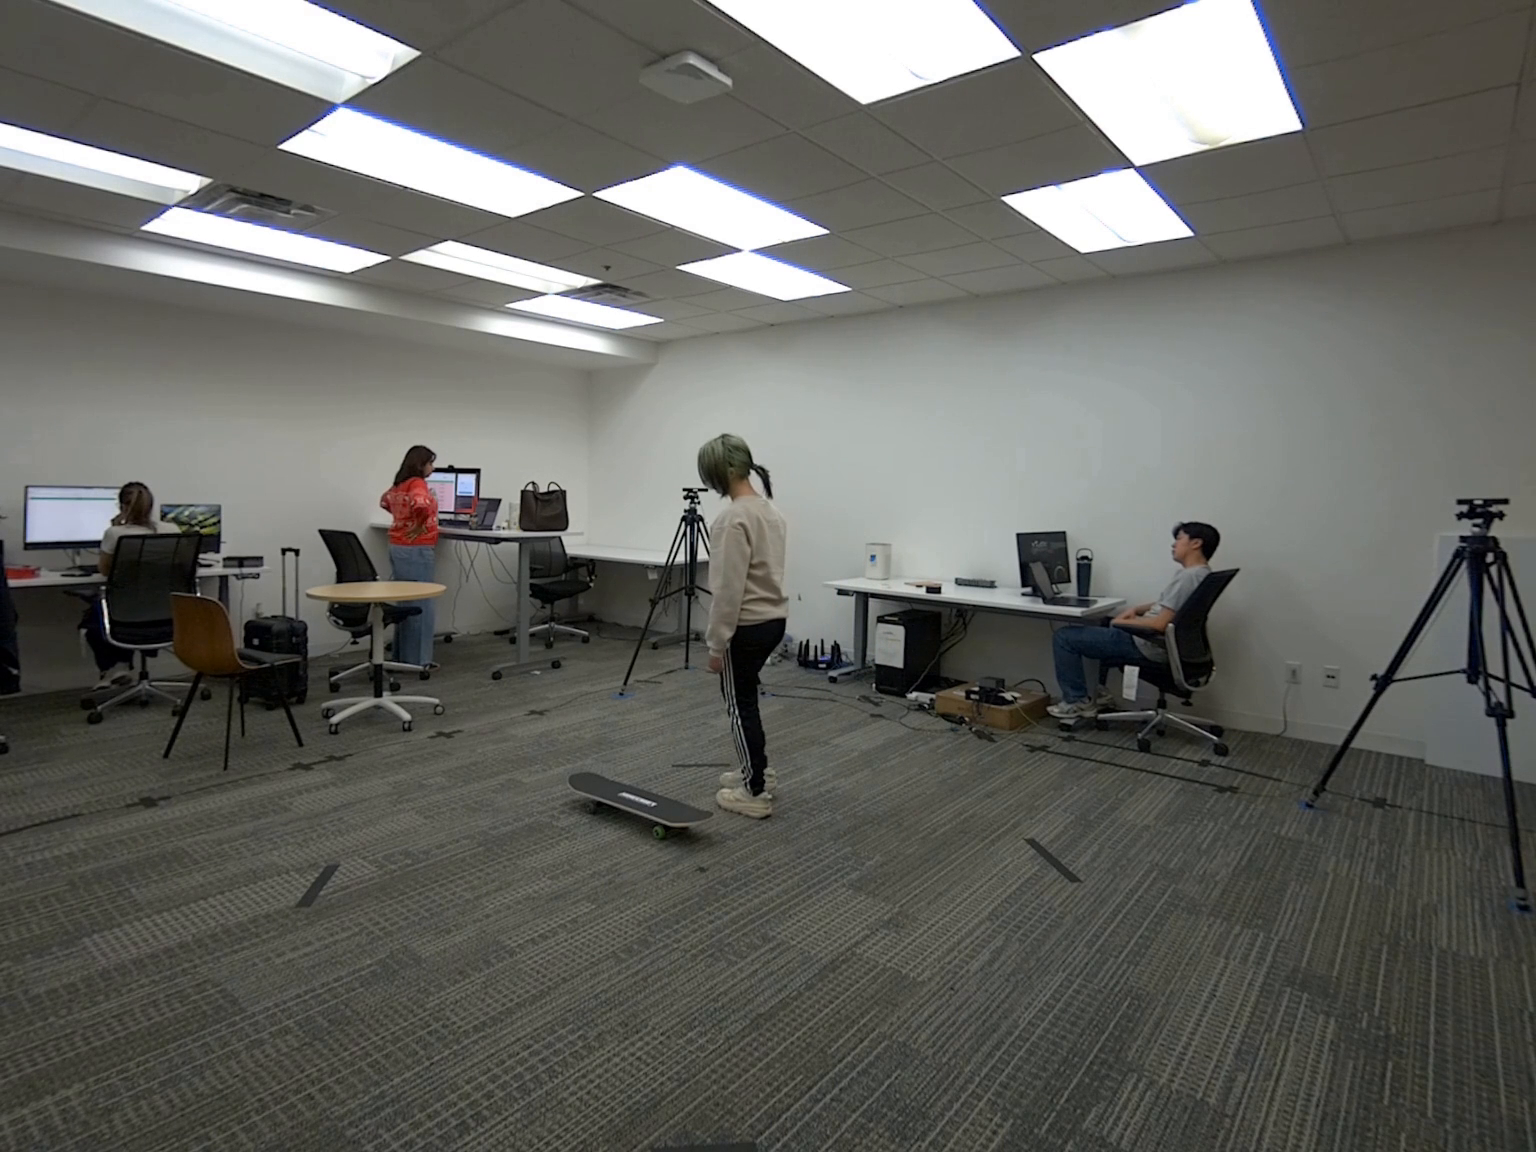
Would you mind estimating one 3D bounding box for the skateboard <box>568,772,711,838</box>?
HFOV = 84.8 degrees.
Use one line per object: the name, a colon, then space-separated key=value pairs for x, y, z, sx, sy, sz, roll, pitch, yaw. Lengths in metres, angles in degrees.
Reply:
skateboard: x=-0.560 y=0.959 z=3.554 sx=0.811 sy=0.110 sz=0.188 roll=5 pitch=7 yaw=37
